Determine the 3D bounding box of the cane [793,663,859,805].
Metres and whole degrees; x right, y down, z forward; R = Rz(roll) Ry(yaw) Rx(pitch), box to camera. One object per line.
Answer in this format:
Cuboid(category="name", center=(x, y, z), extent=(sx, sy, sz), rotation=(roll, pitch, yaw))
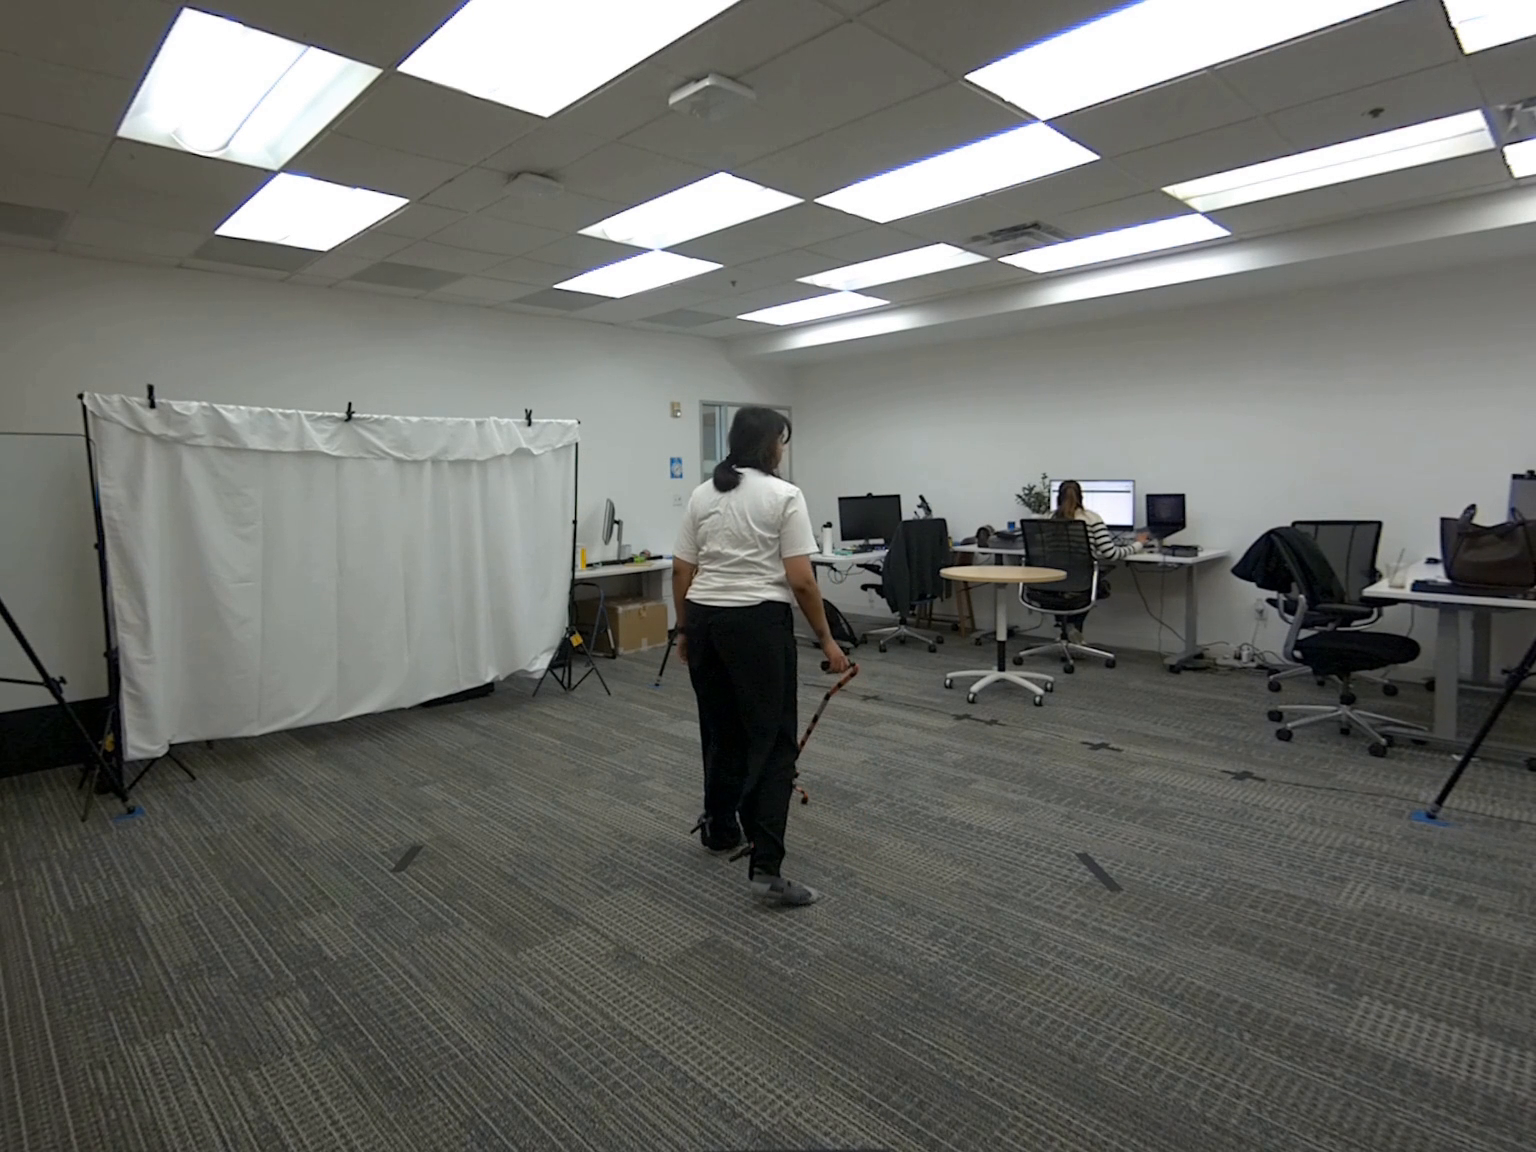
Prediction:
Cuboid(category="cane", center=(0.177, 0.628, 3.398), extent=(0.202, 0.894, 0.157), rotation=(0, 47, -22))
